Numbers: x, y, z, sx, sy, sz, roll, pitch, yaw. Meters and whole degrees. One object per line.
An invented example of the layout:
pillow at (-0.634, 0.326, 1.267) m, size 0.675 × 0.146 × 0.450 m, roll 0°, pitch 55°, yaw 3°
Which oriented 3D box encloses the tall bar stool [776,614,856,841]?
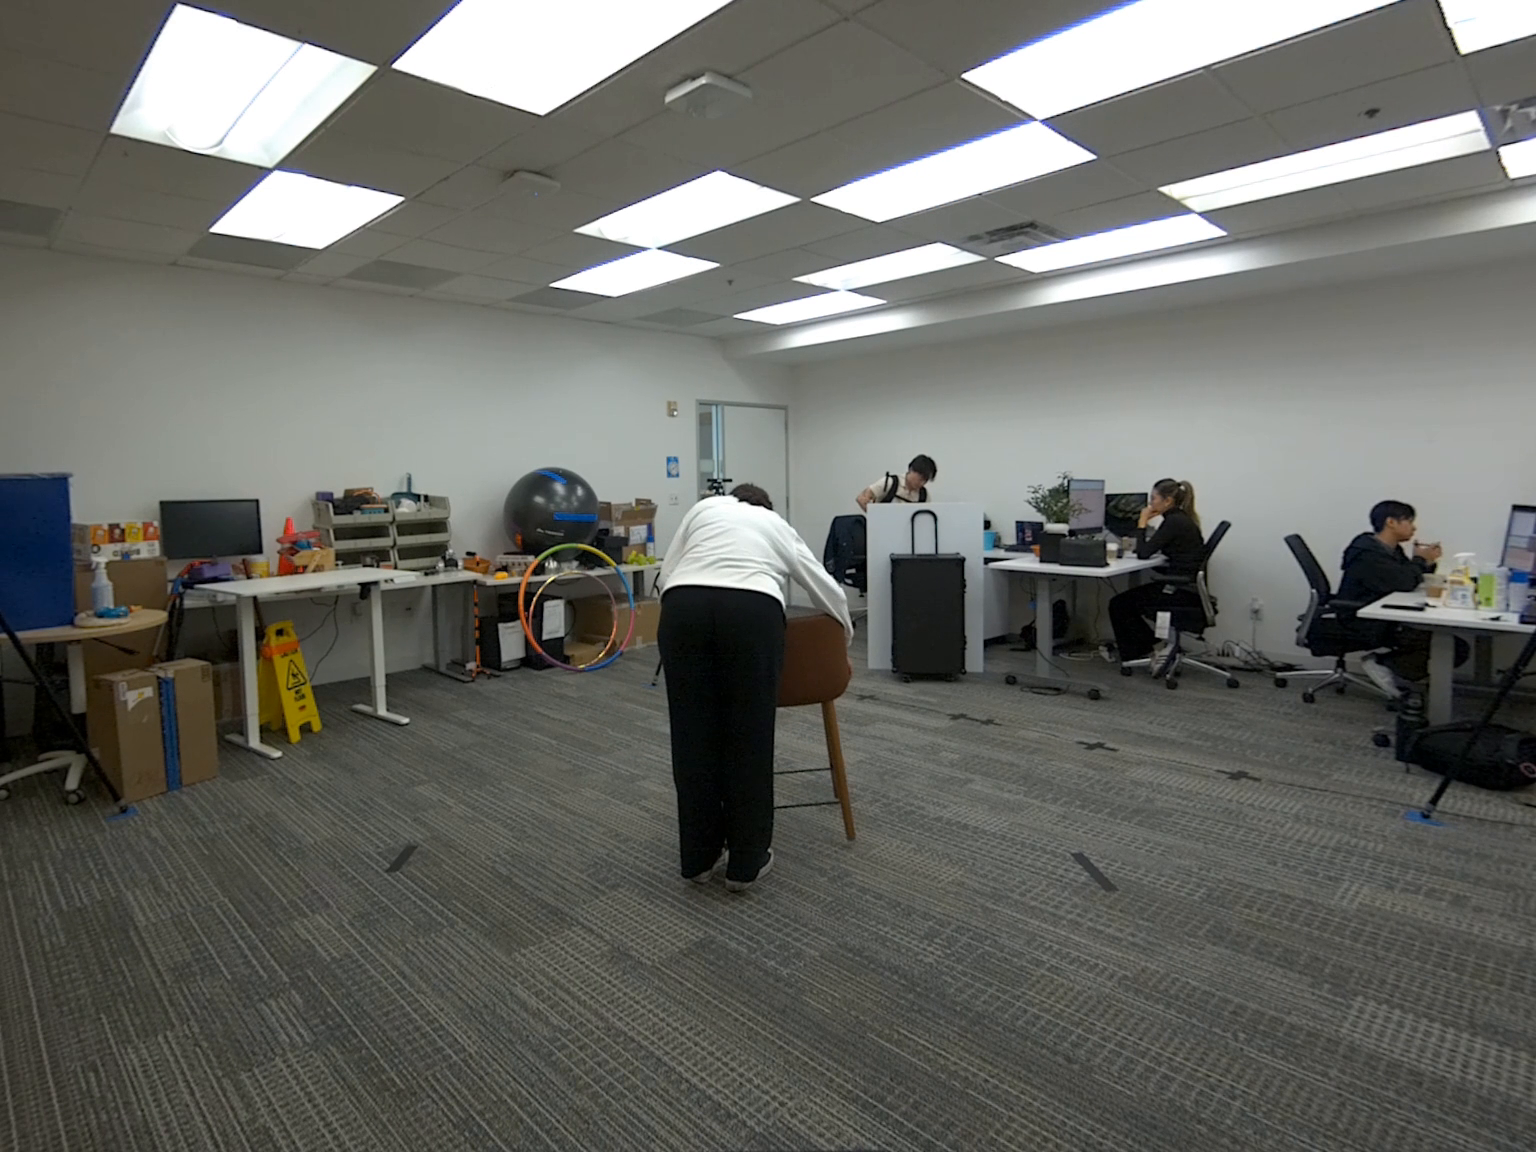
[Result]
tall bar stool at (0.097, 0.561, 3.418) m, size 0.455 × 0.884 × 0.472 m, roll -5°, pitch 7°, yaw -4°
